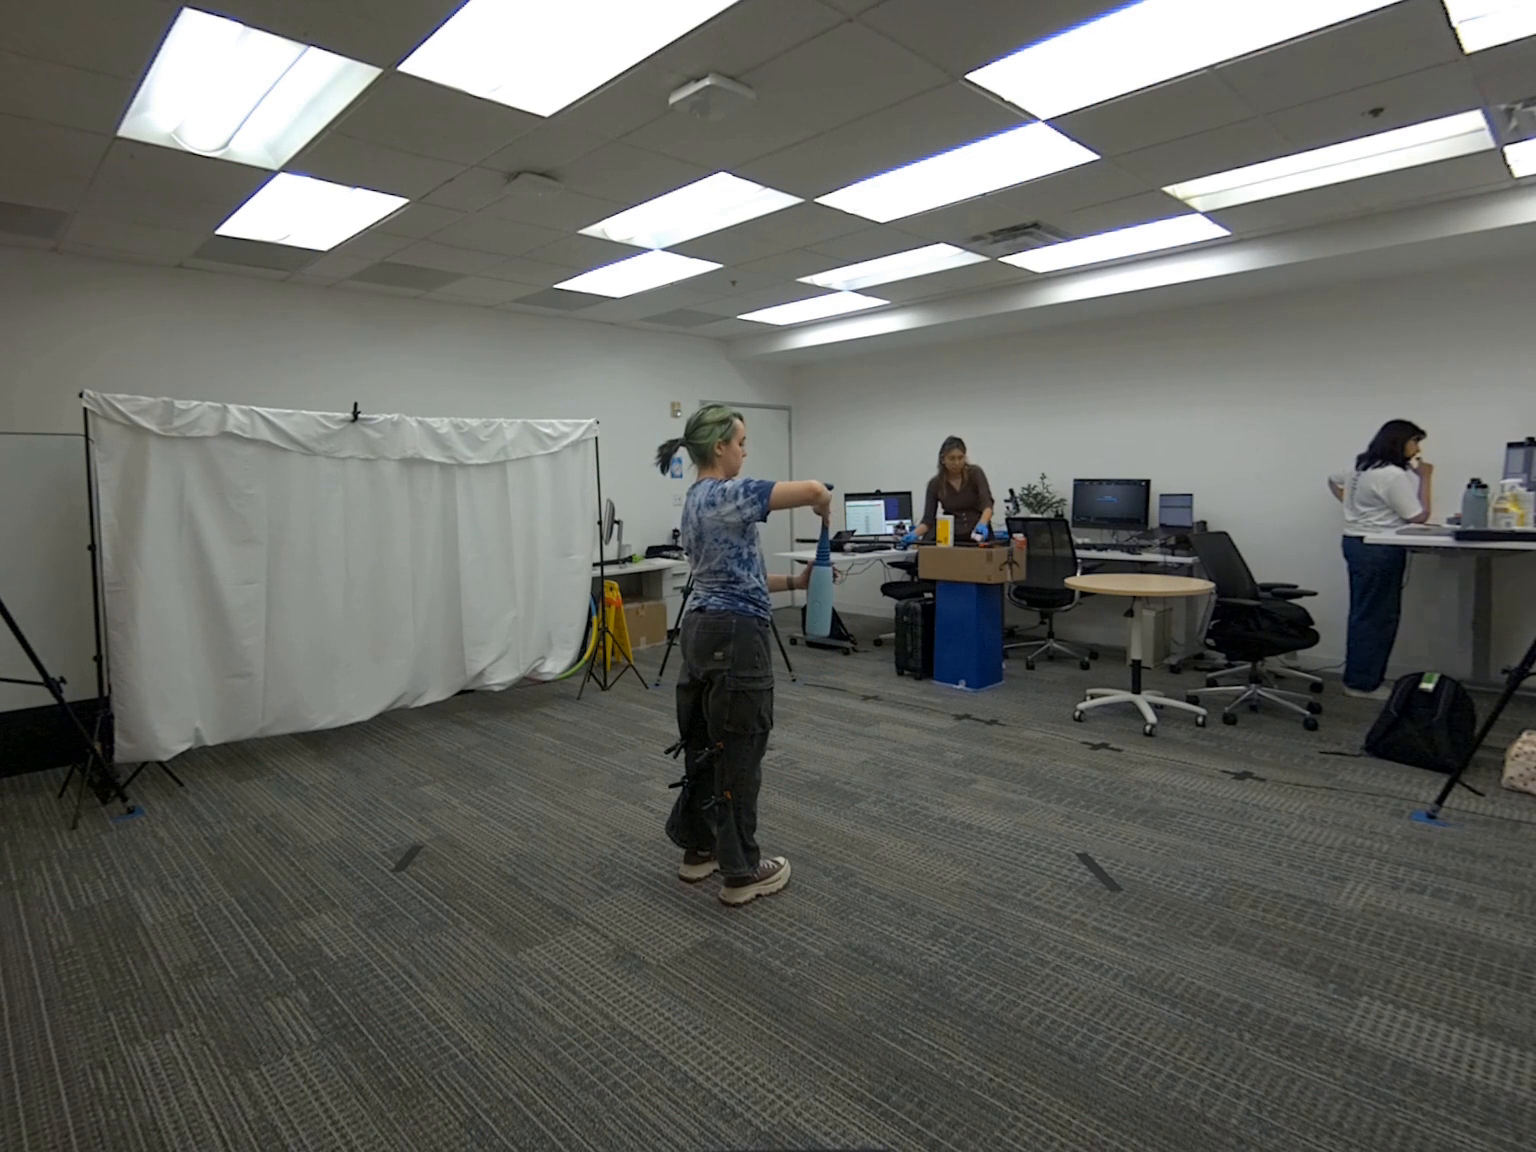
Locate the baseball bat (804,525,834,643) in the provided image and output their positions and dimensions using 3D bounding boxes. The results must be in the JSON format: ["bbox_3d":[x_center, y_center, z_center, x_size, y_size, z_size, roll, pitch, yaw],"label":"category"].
[{"bbox_3d":[0.194,-0.052,3.010,0.089,0.542,0.089,5,1,-2],"label":"baseball bat"}]
